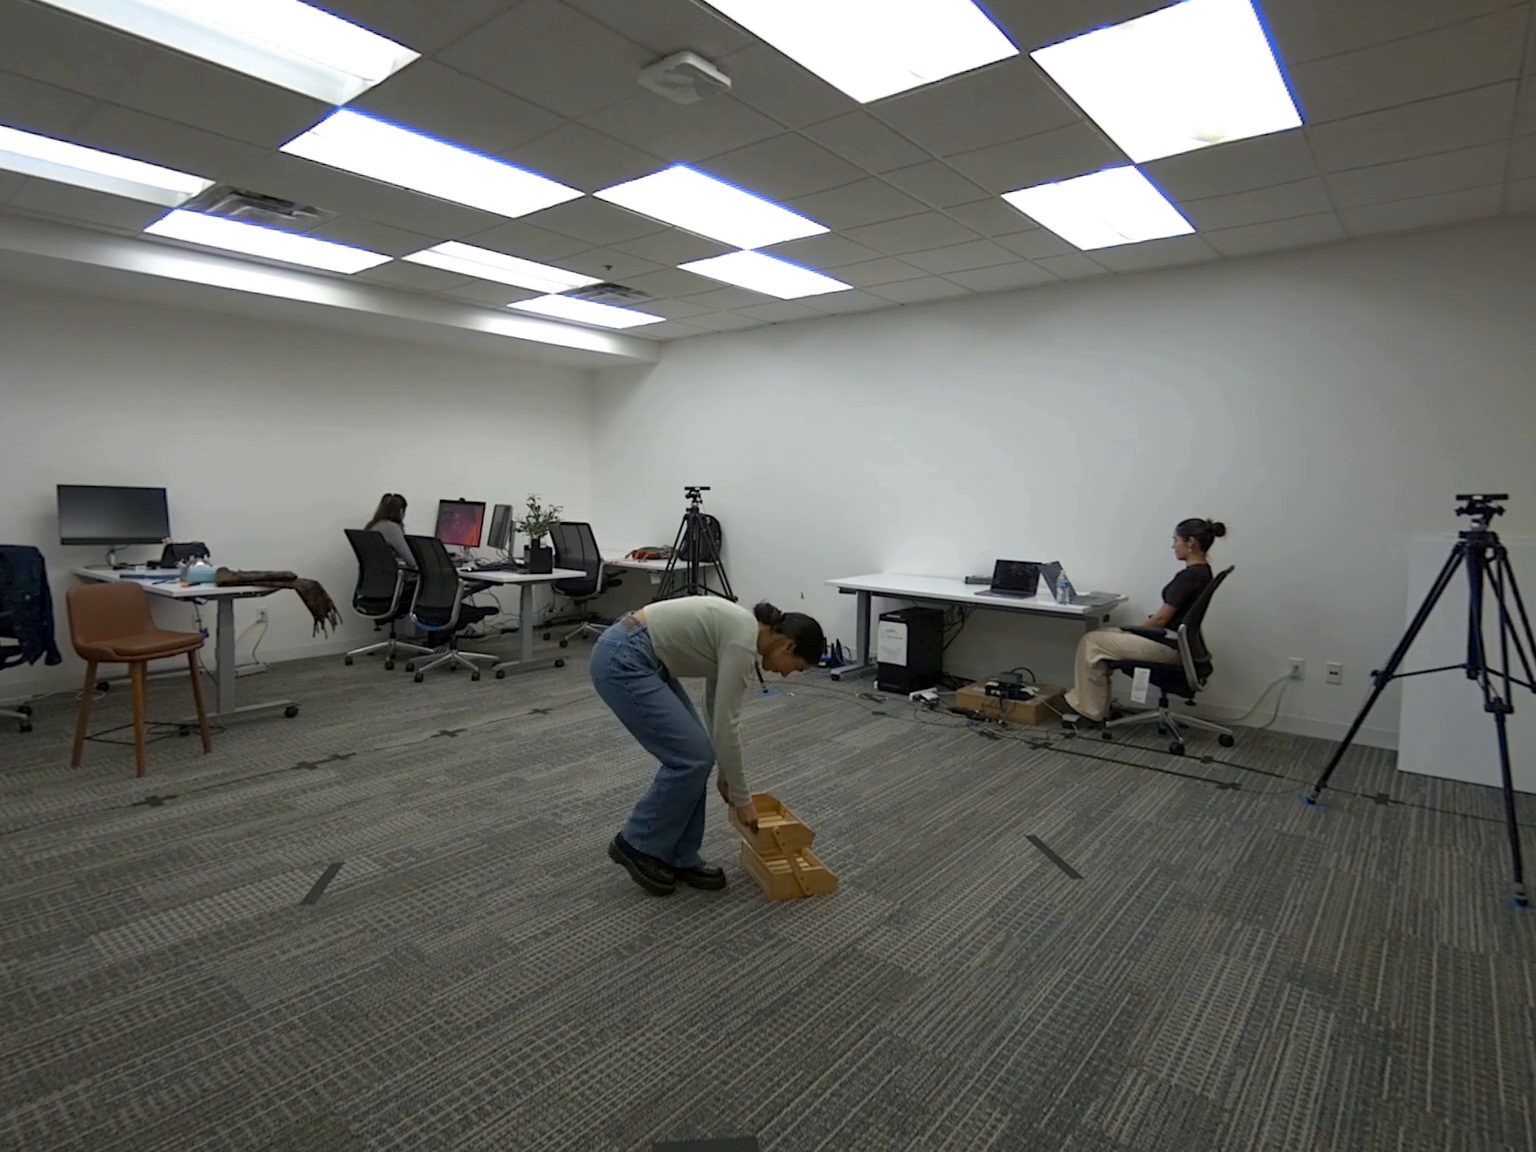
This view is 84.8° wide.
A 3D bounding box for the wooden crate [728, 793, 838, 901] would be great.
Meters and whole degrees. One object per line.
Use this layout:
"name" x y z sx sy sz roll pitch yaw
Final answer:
"wooden crate" 0.046 0.945 3.030 0.296 0.272 0.332 -1 5 -21
